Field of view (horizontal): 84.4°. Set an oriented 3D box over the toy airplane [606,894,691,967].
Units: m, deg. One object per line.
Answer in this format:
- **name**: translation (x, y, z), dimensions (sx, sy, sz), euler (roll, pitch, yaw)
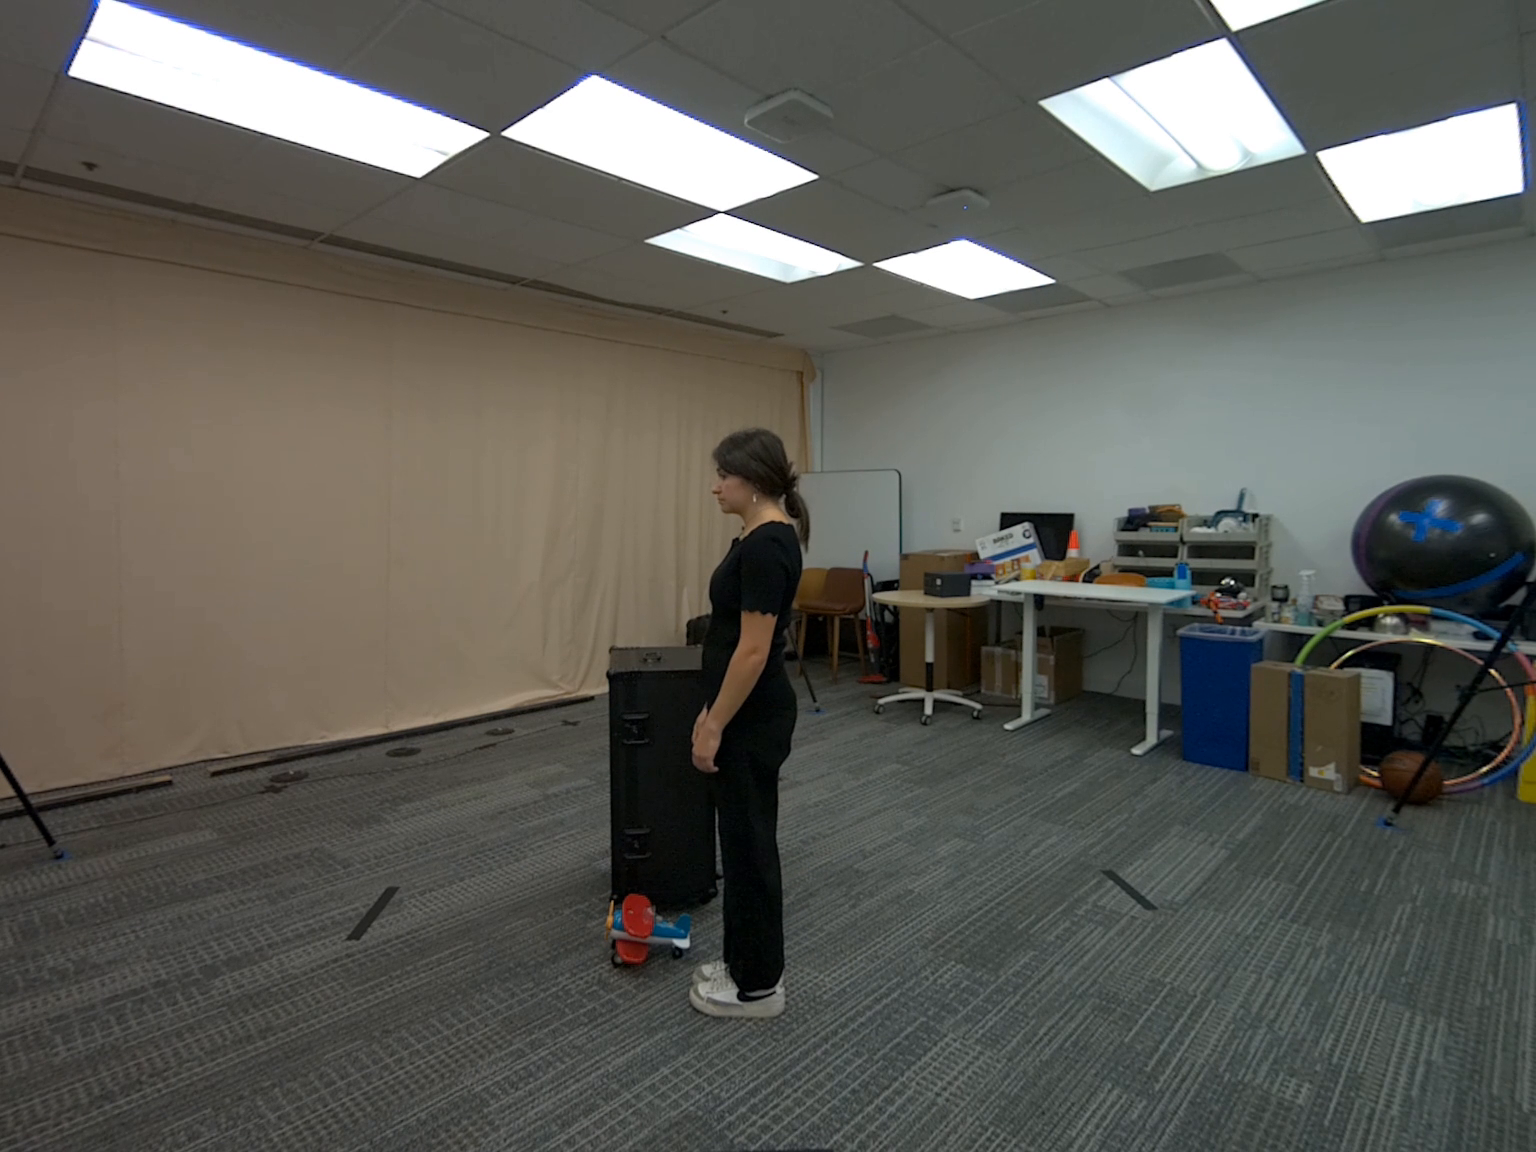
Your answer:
- **toy airplane**: translation (-0.380, 1.097, 2.615), dimensions (0.252, 0.156, 0.259), euler (-5, 7, -35)
